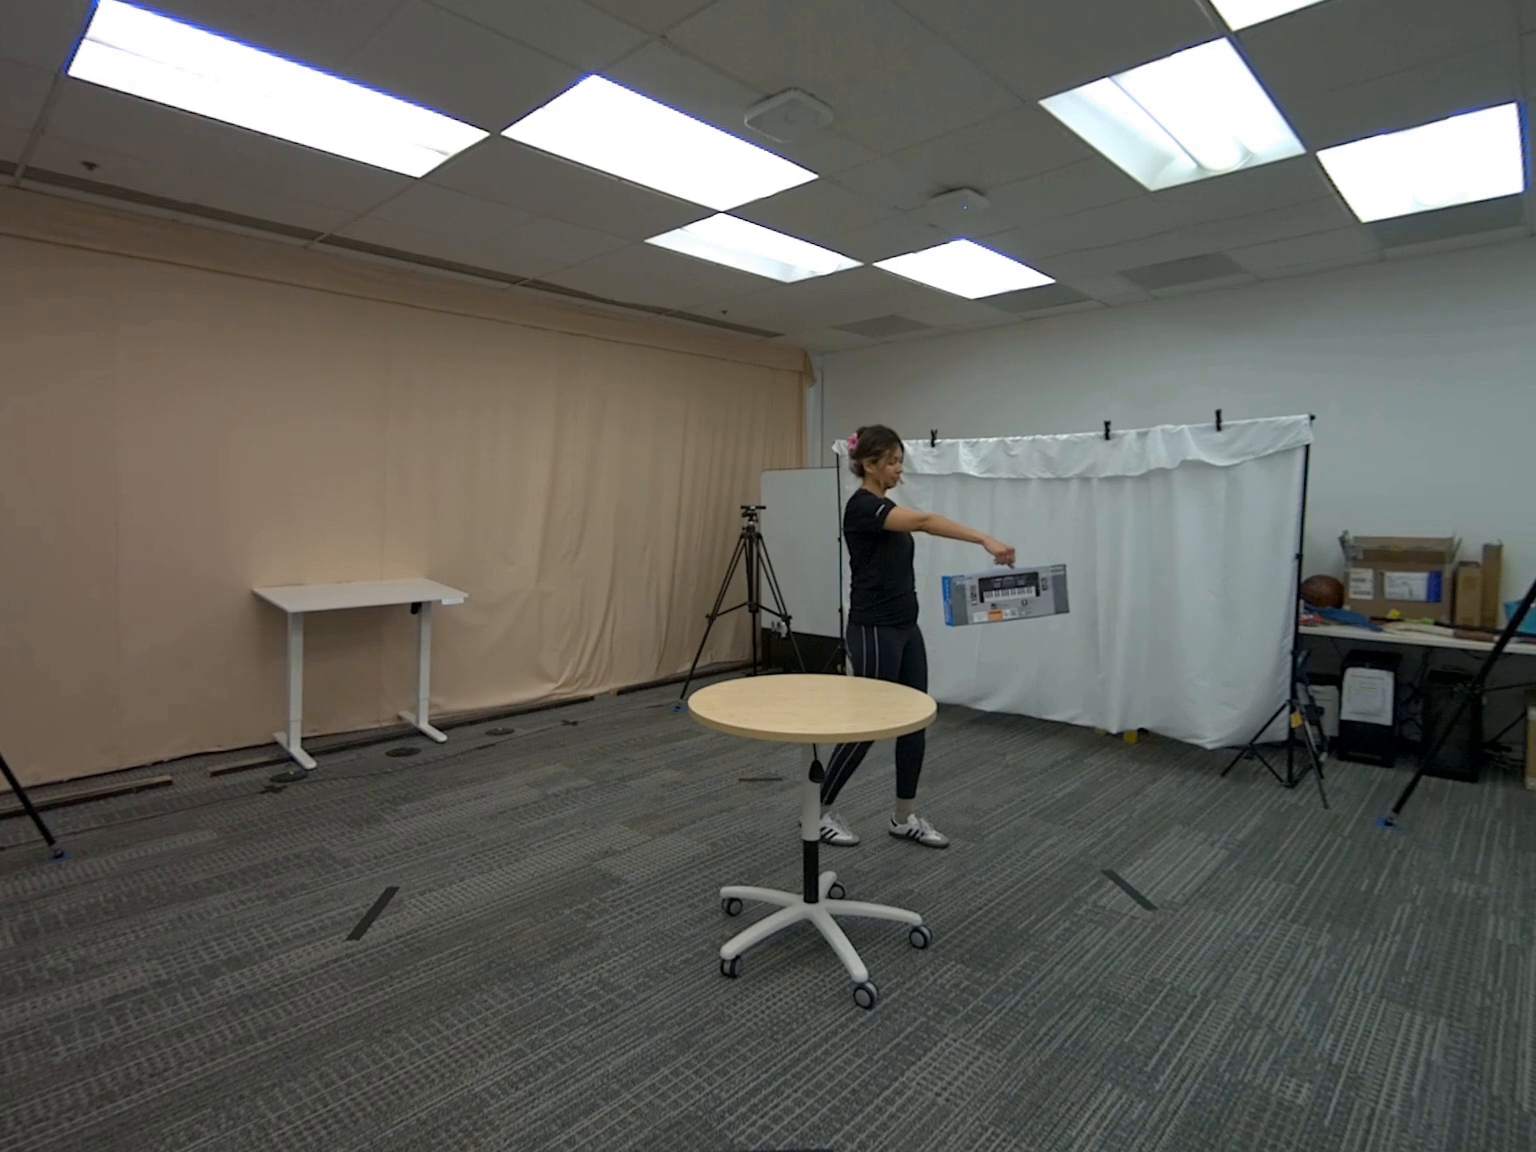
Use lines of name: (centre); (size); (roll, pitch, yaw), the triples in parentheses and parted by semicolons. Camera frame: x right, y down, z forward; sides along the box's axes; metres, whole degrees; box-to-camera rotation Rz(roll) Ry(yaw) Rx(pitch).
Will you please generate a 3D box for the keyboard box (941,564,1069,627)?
keyboard box: (0.829, 0.069, 2.901); (0.431, 0.176, 0.060); (-6, 1, -13)
